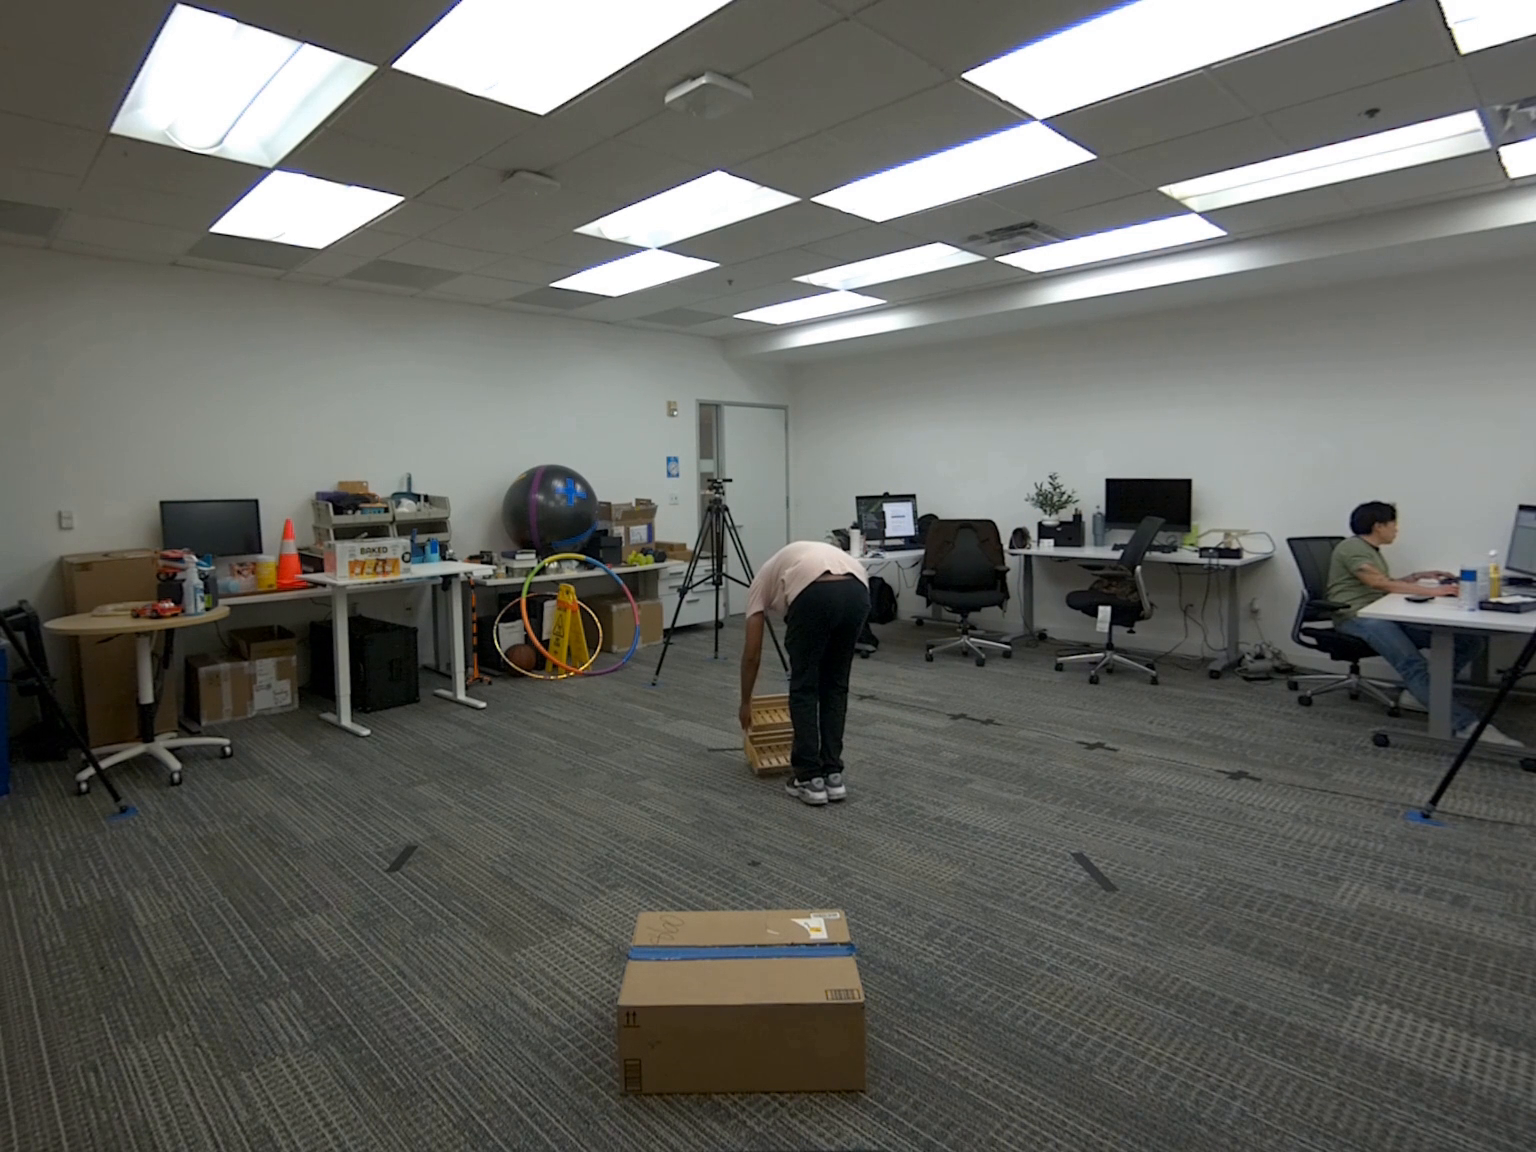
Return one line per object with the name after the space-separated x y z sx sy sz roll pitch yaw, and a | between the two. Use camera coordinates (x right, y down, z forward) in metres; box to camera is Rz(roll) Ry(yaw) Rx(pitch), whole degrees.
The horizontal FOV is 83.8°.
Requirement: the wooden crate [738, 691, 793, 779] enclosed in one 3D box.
0.058 0.749 4.098 0.320 0.270 0.310 -3 15 -16 | wooden crate
